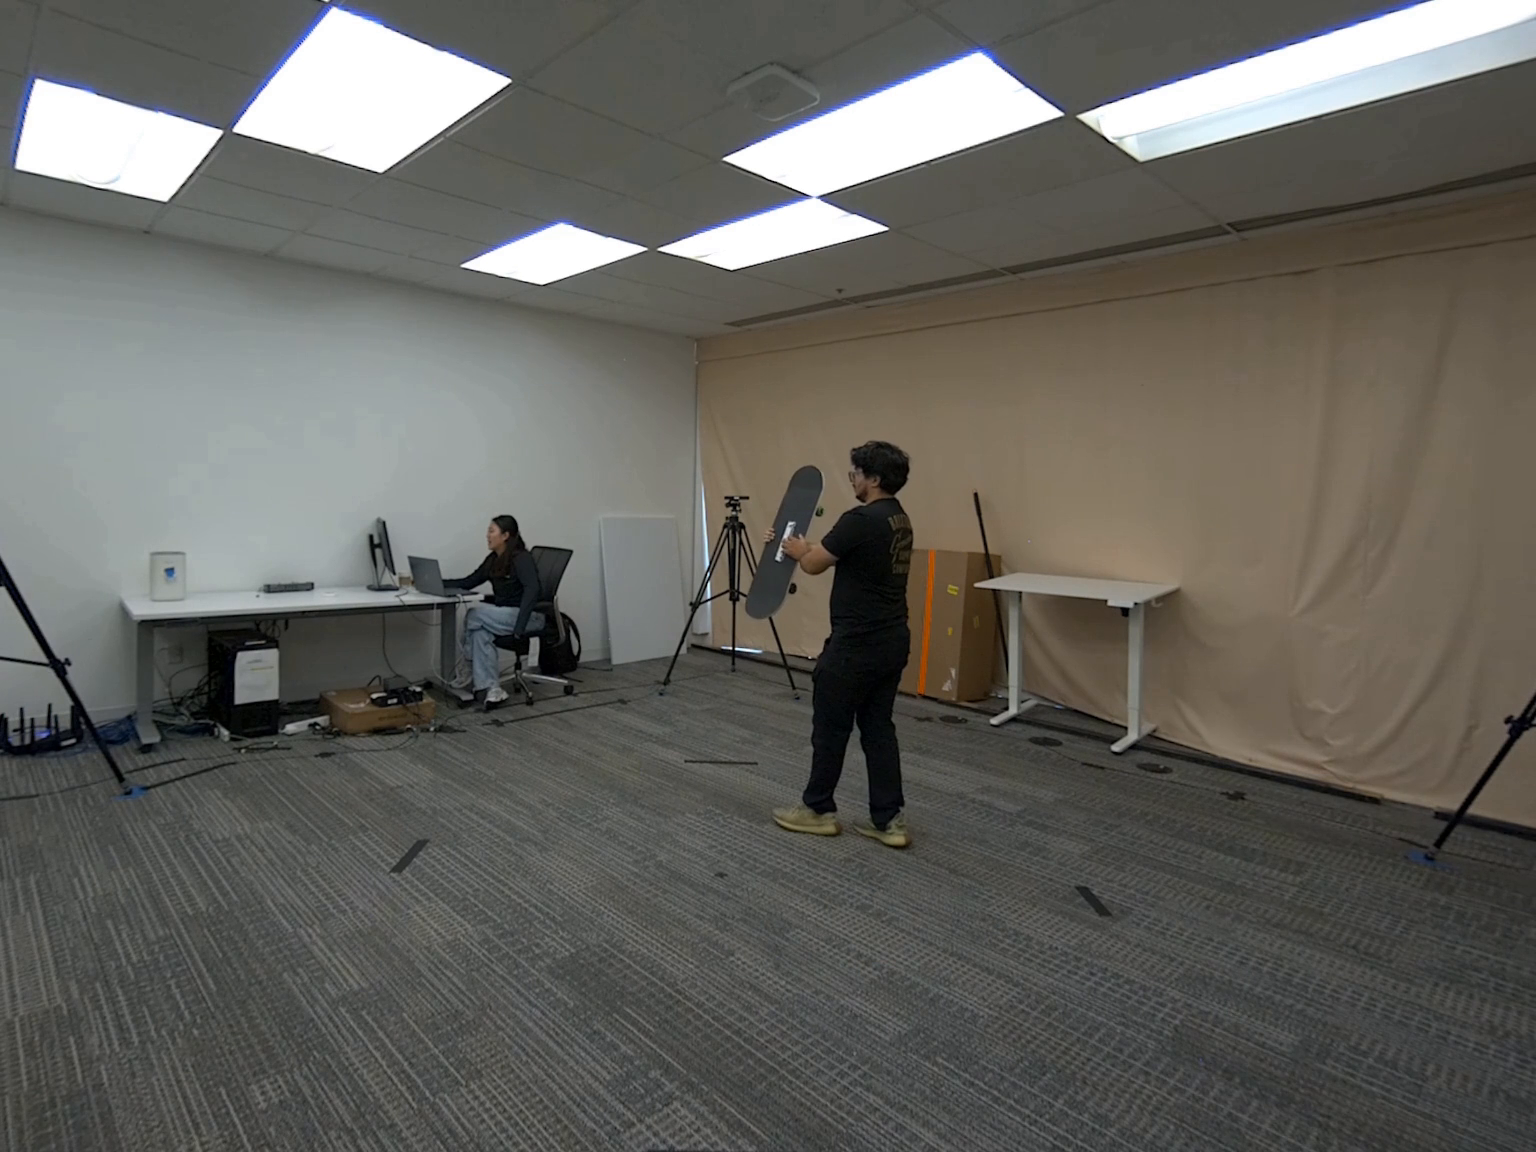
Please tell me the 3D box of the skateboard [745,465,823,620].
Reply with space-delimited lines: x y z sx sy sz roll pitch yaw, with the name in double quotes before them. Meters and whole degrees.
"skateboard" 0.083 -0.142 3.814 0.198 0.791 0.107 6 -25 34
